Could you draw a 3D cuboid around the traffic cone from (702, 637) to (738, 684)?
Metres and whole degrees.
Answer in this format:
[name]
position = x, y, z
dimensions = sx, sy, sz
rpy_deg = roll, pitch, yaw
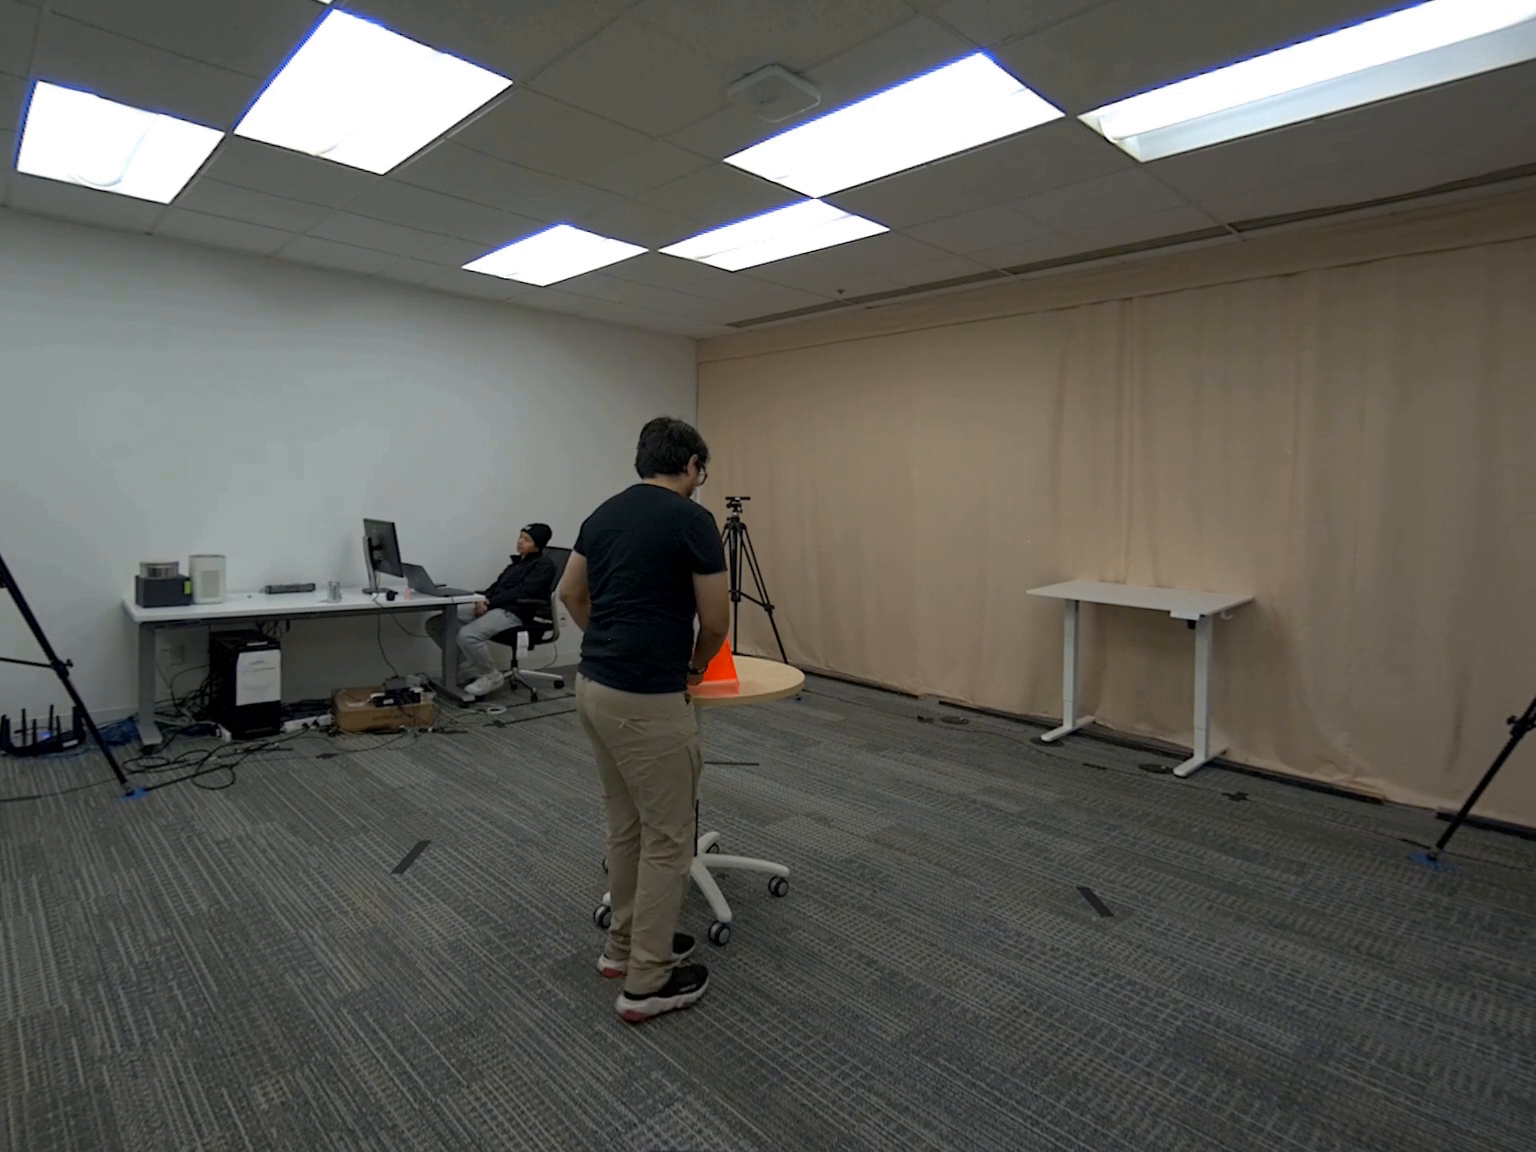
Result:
[traffic cone]
position = -0.307, 0.298, 2.688
dimensions = 0.384, 0.205, 0.203
rpy_deg = -11, -2, 0
